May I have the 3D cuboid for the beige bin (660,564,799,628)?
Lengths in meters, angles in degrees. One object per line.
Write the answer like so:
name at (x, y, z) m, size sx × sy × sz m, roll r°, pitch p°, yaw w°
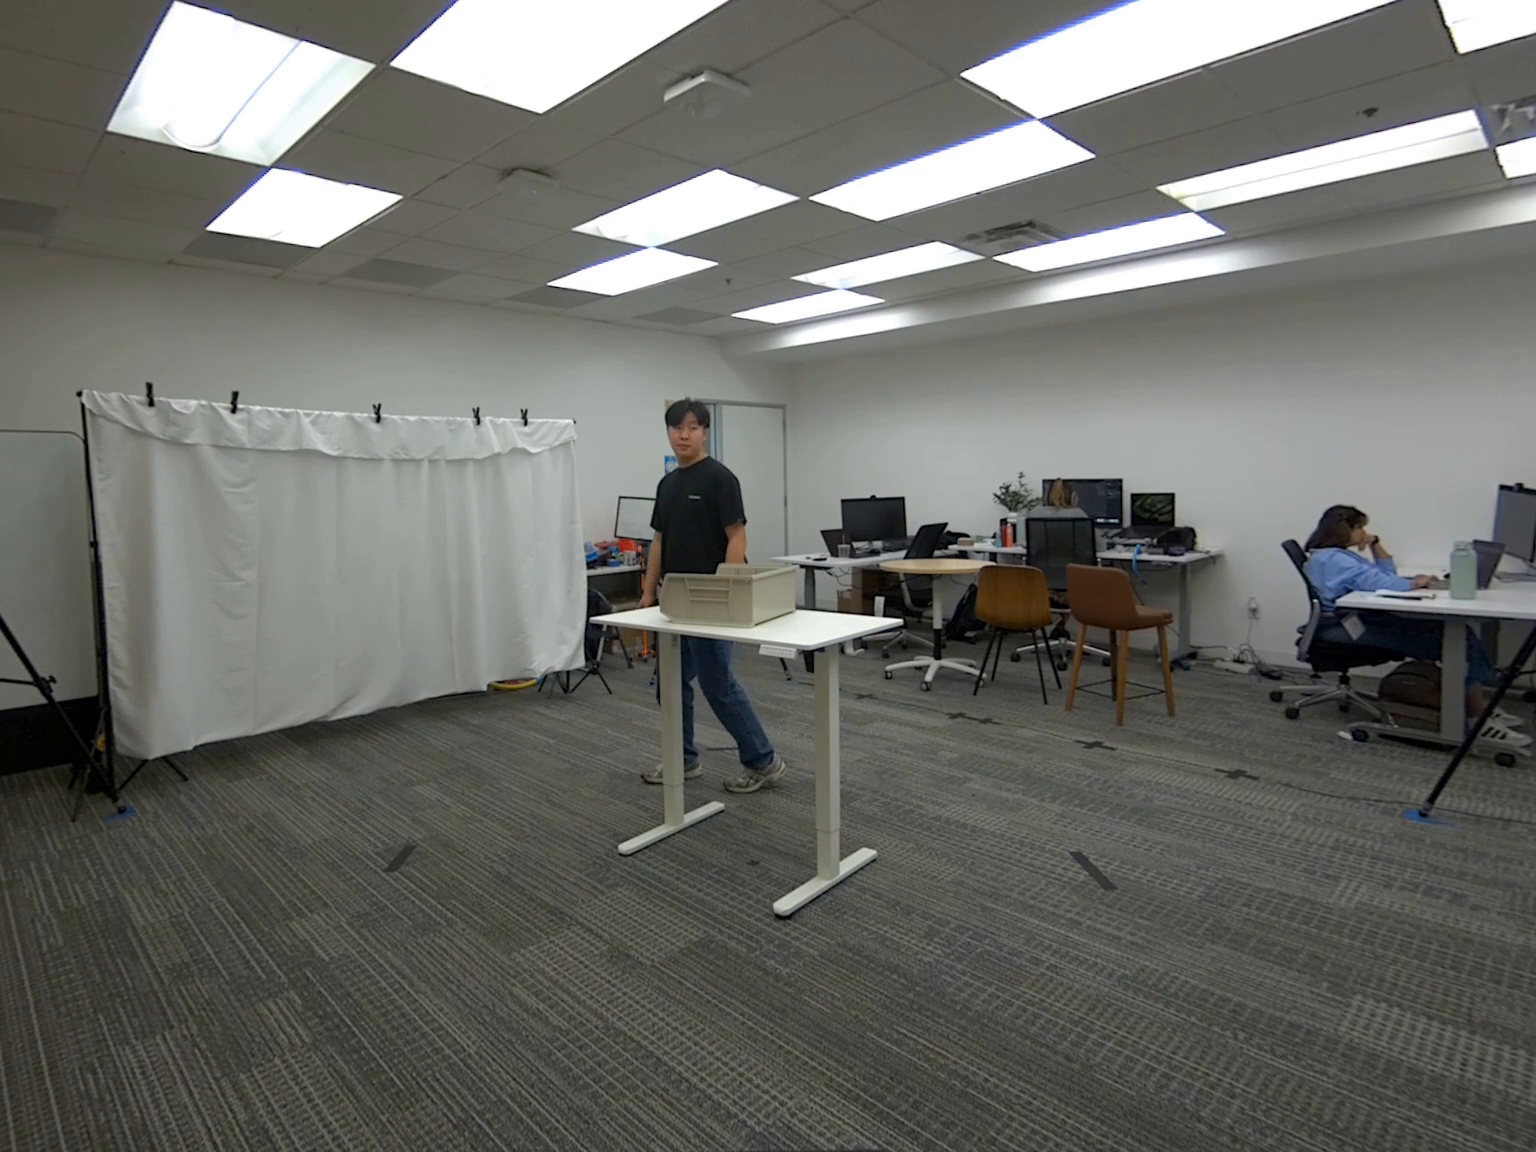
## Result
beige bin at (-0.134, 0.068, 3.167) m, size 0.387 × 0.188 × 0.414 m, roll 3°, pitch 6°, yaw 26°
